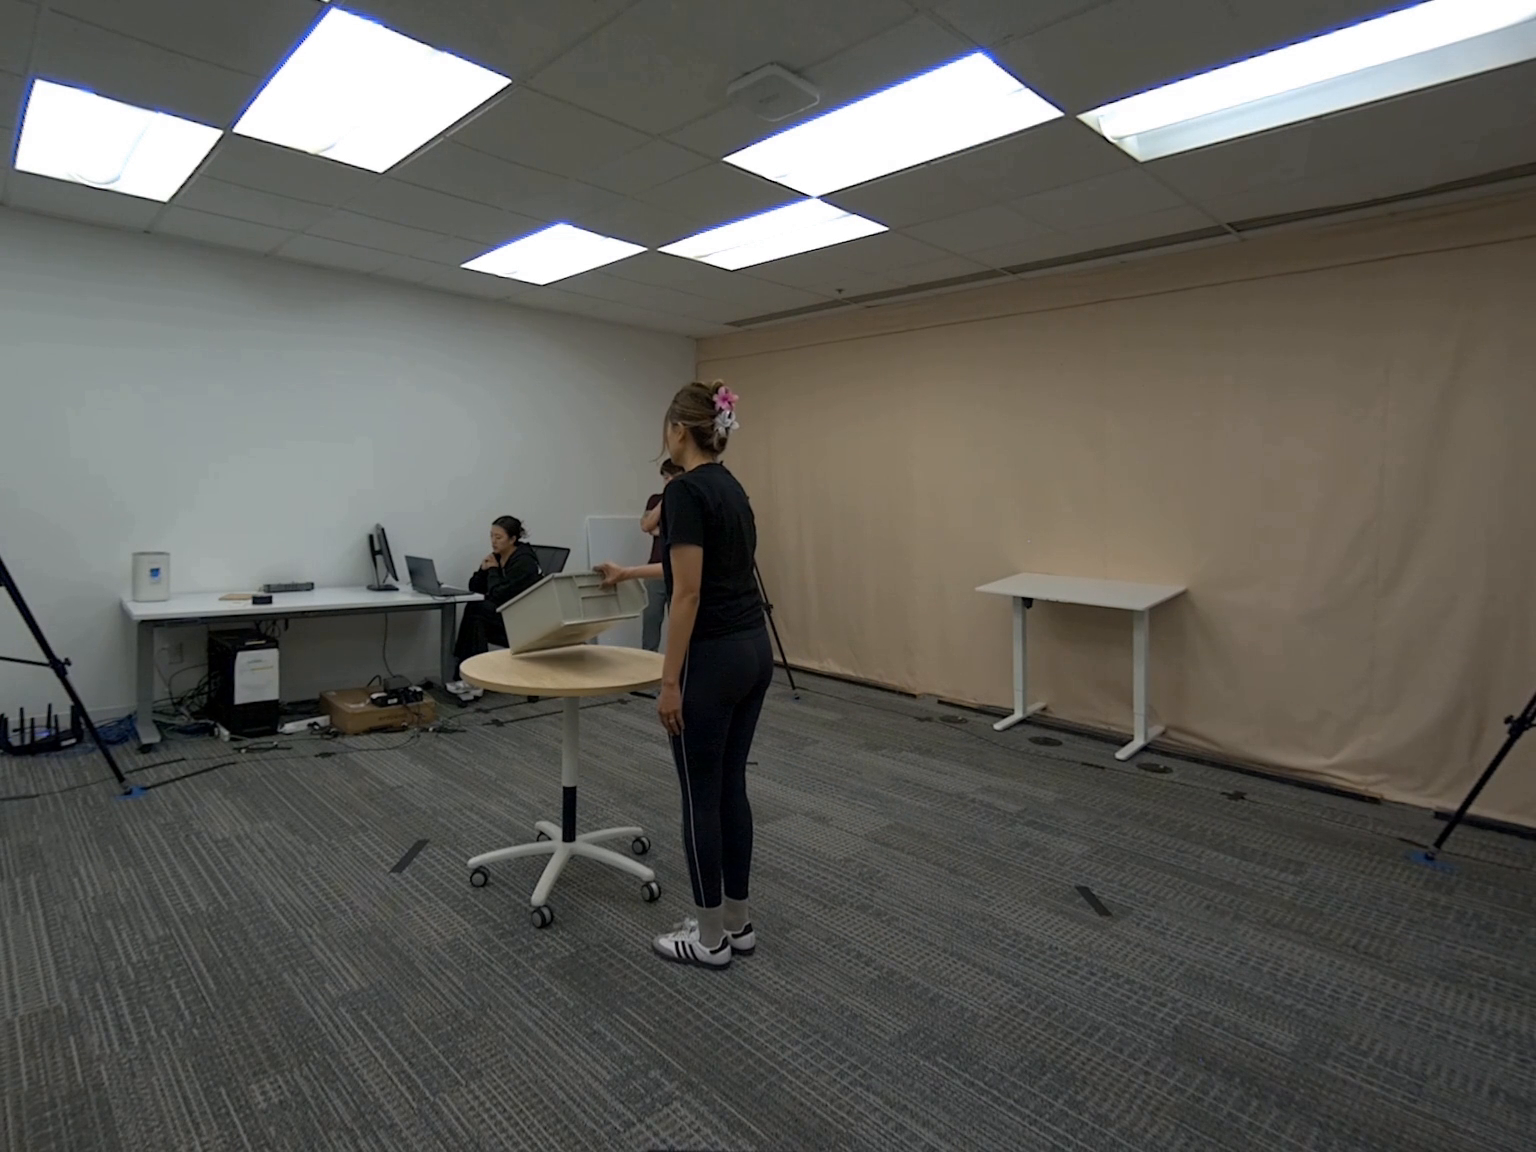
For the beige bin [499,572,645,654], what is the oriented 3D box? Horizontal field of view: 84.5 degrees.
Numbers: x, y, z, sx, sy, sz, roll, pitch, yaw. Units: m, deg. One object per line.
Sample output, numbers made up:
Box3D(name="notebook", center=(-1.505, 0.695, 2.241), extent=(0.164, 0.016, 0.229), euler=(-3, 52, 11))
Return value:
Box3D(name="beige bin", center=(-0.719, 0.133, 3.069), extent=(0.369, 0.191, 0.427), euler=(-7, -13, -44))
